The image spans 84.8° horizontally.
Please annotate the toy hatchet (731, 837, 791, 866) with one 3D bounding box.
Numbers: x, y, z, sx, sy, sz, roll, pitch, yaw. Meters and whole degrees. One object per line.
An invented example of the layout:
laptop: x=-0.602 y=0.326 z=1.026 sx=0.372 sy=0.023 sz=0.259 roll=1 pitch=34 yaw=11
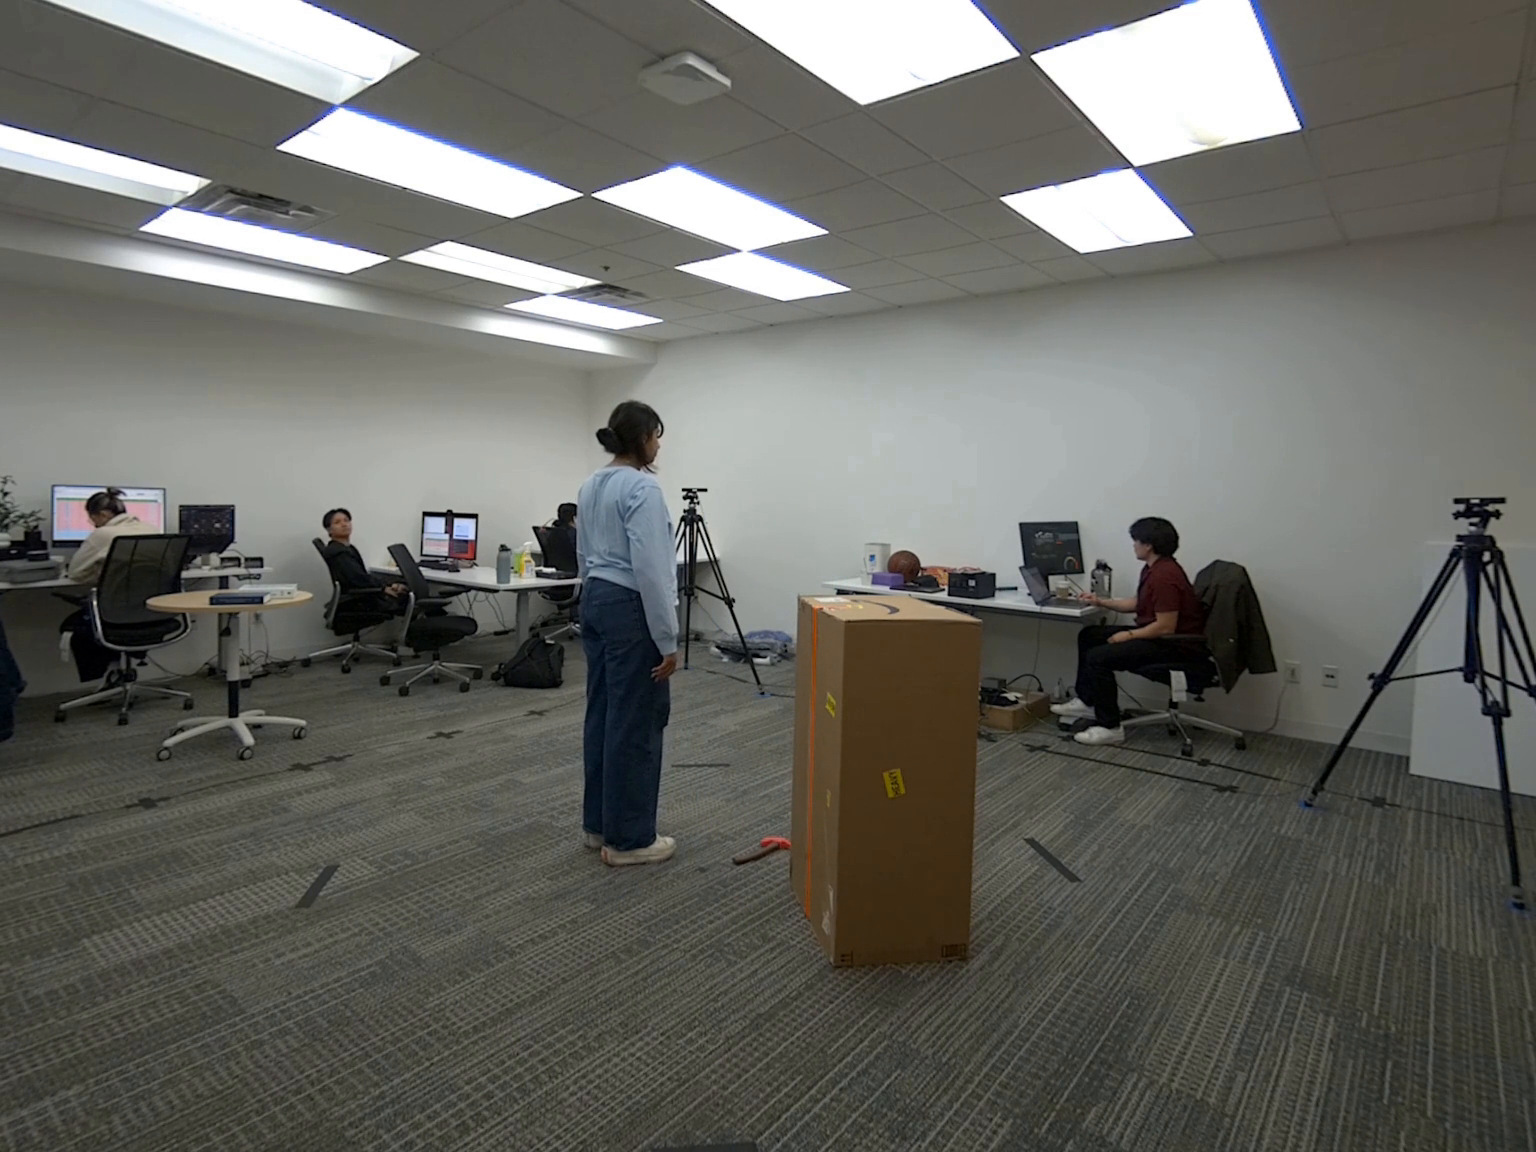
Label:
toy hatchet: x=-0.051 y=1.048 z=3.265 sx=0.263 sy=0.029 sz=0.135 roll=-5 pitch=7 yaw=-34
